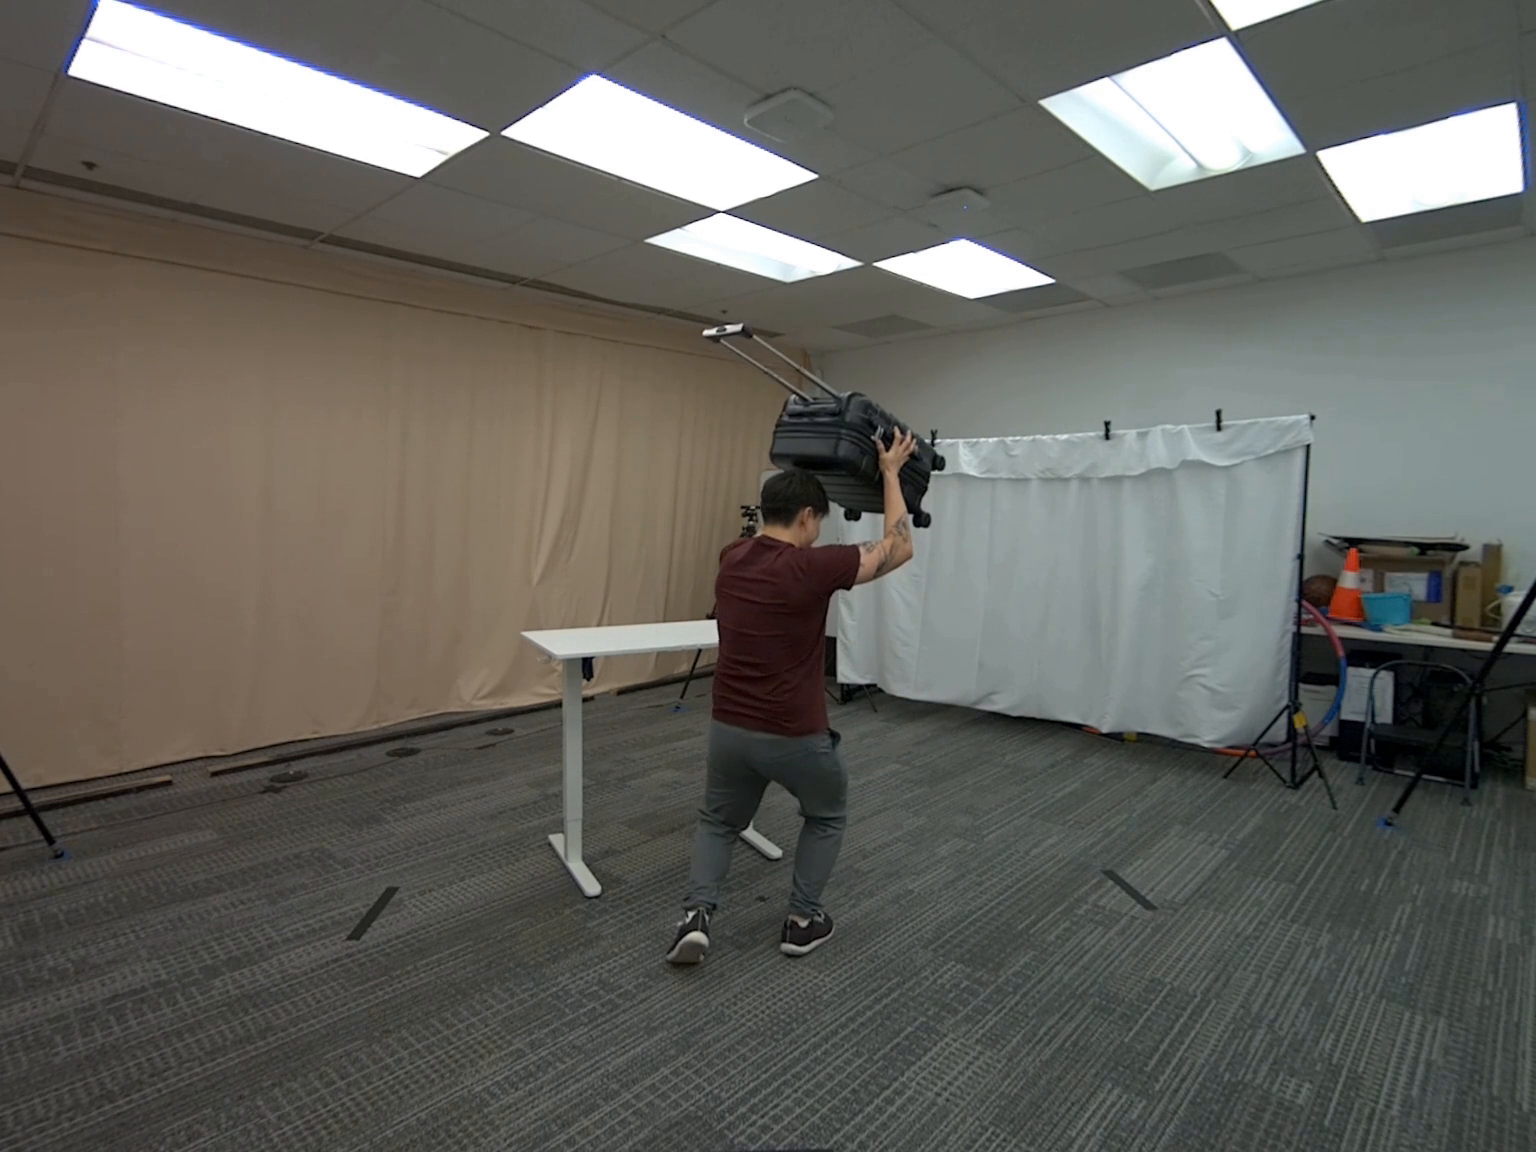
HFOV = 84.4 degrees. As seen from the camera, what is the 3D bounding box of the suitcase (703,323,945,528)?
[{"bbox_3d":[0.169,-0.445,2.656,0.397,0.257,0.943,9,-11,45],"label":"suitcase"}]
